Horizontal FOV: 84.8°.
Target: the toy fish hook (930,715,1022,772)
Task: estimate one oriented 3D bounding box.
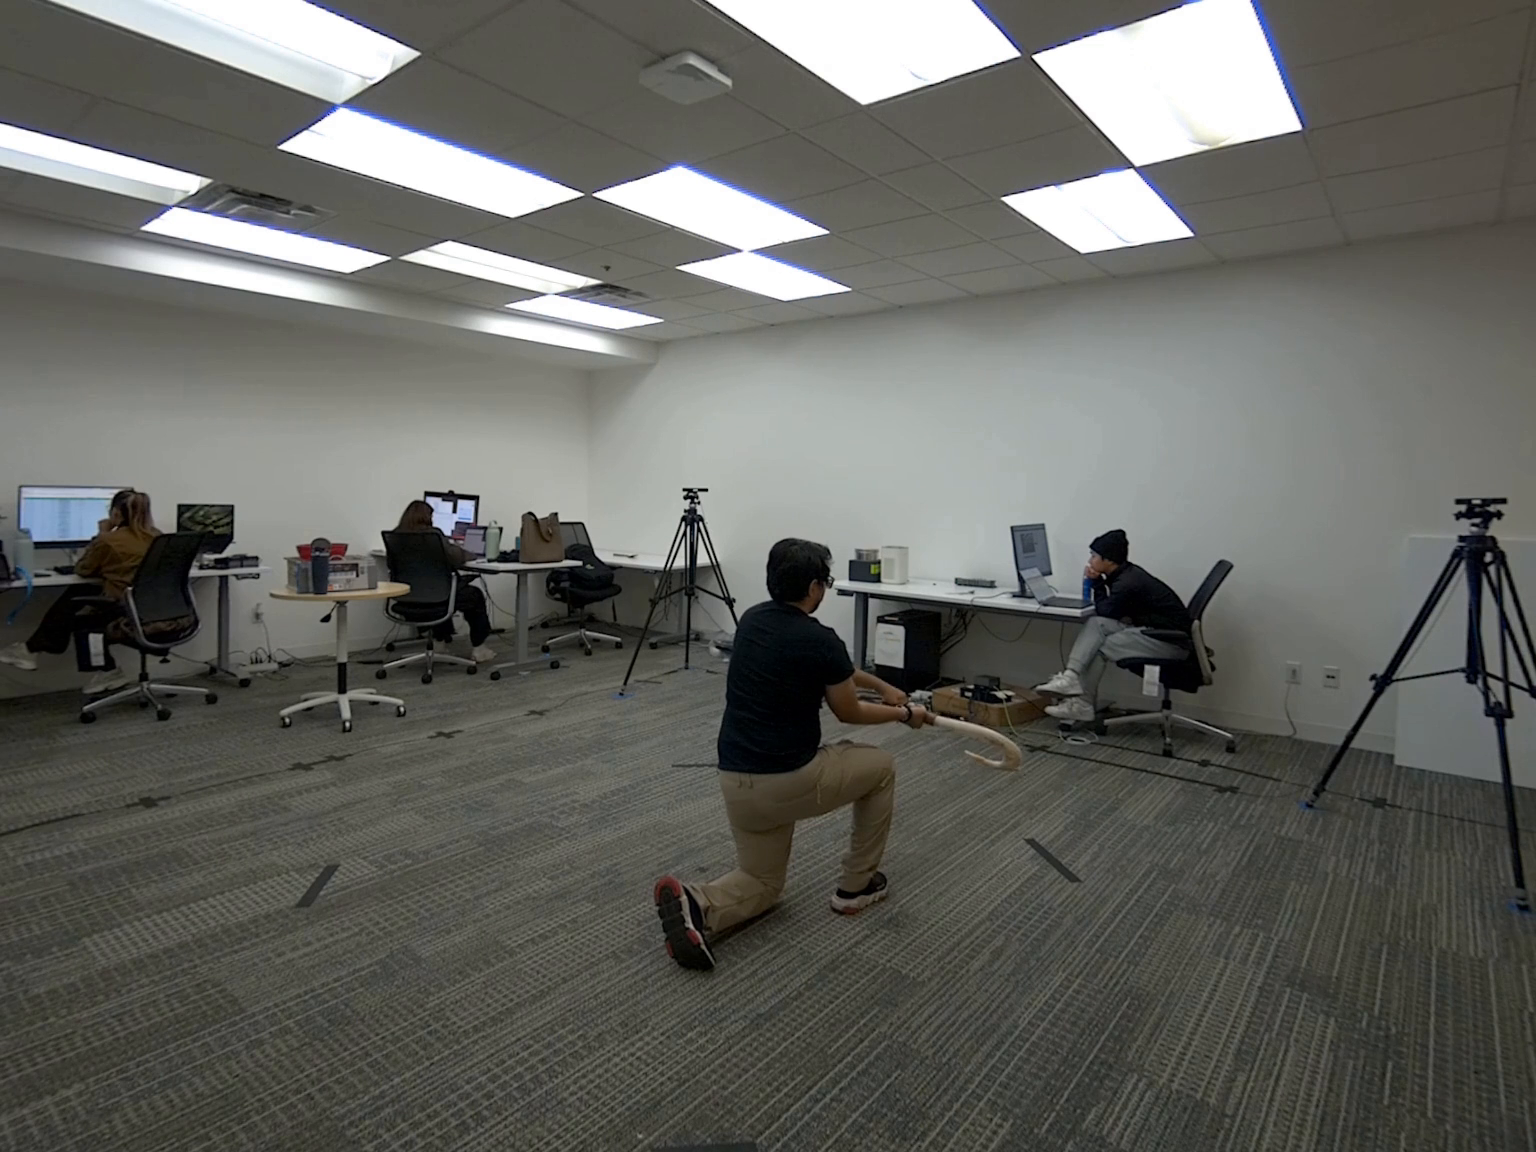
[{"bbox_3d":[0.633,0.553,2.992,0.524,0.217,0.048,20,50,29],"label":"toy fish hook"}]
